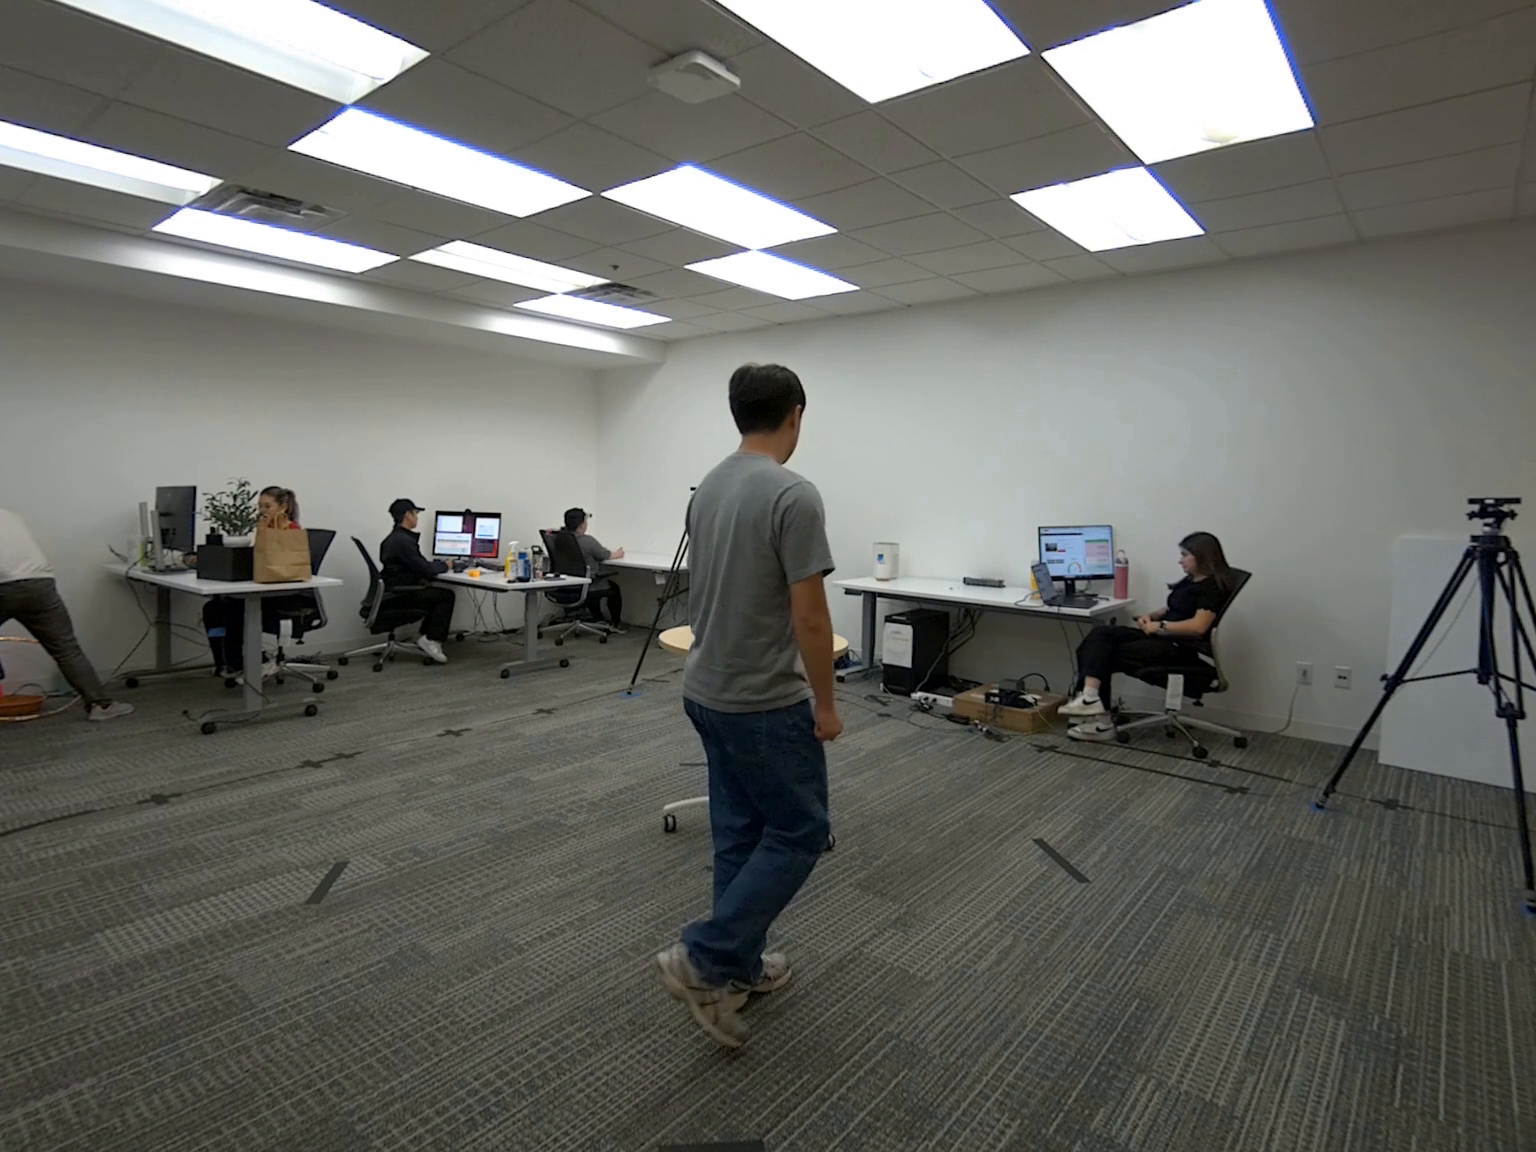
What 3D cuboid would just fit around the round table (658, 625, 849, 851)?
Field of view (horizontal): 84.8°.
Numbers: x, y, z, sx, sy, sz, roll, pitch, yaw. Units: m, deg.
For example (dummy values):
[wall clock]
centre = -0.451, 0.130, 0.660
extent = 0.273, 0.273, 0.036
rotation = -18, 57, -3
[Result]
[round table]
centre = -0.080, 0.638, 3.471
extent = 0.763, 0.792, 0.768
rotation = 2, 4, -2
